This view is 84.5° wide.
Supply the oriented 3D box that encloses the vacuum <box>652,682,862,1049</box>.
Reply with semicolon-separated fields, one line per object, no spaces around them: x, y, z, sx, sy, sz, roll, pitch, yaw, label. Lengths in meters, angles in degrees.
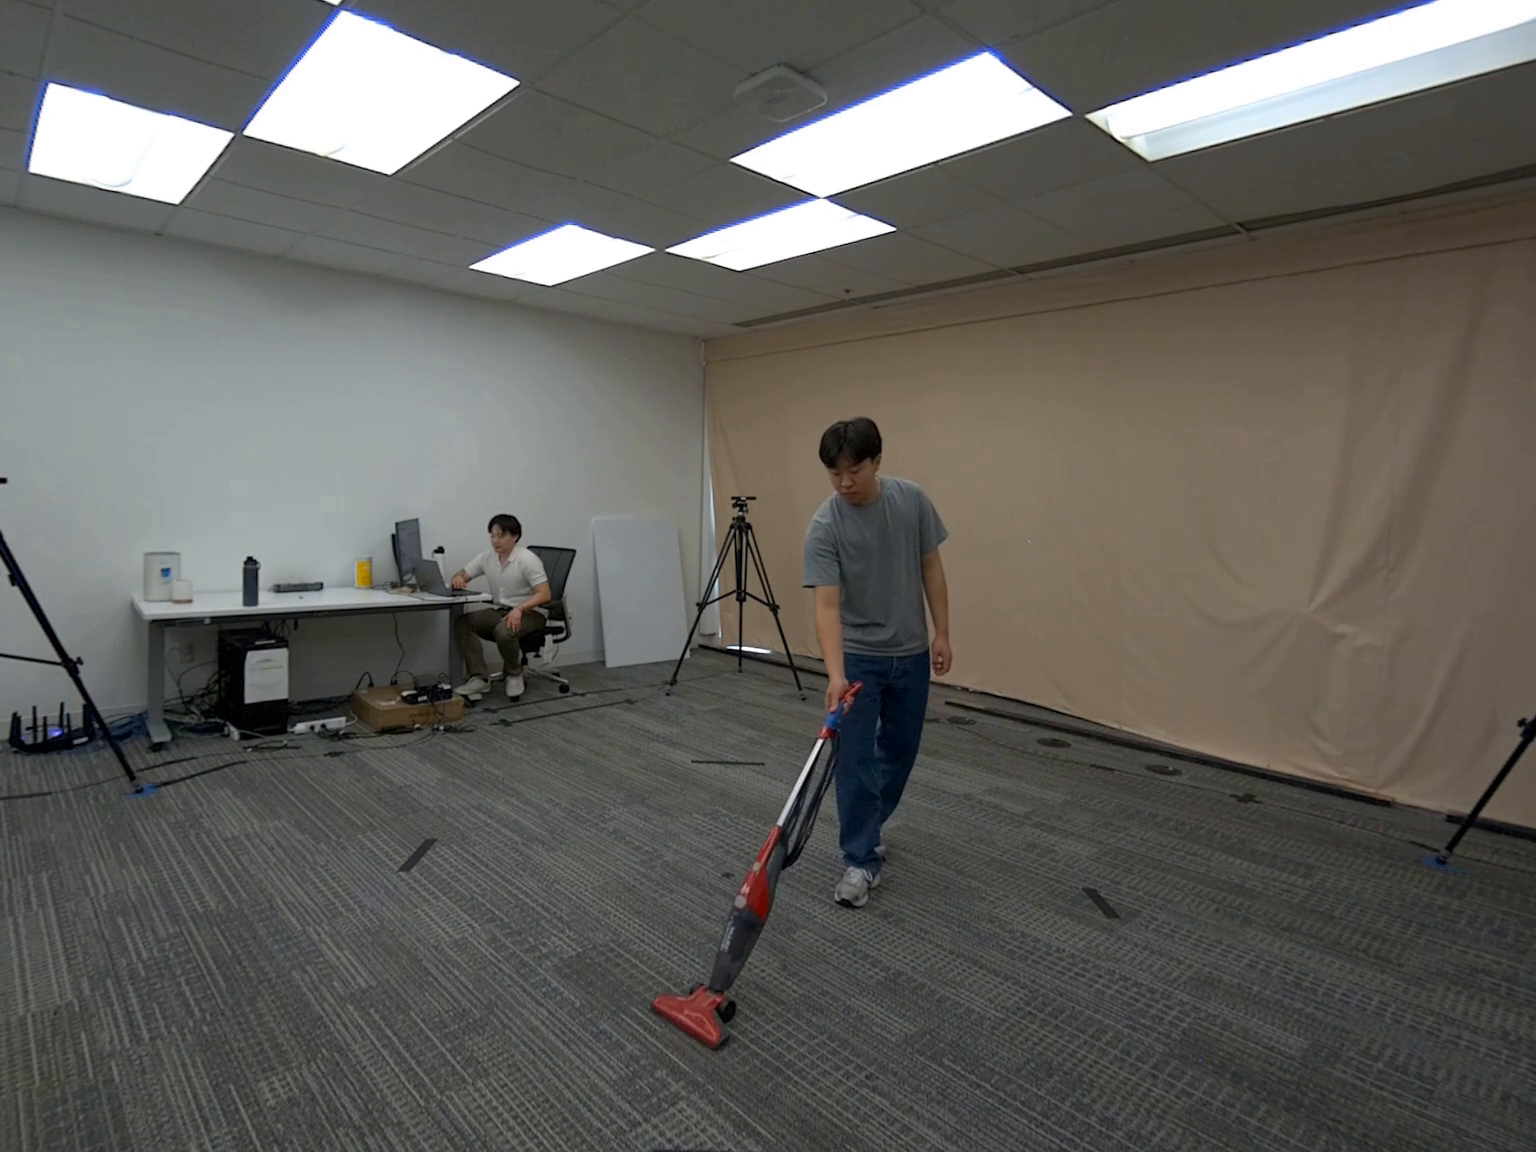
0.051;0.772;2.478;0.259;1.055;0.139;8;-35;37;vacuum
